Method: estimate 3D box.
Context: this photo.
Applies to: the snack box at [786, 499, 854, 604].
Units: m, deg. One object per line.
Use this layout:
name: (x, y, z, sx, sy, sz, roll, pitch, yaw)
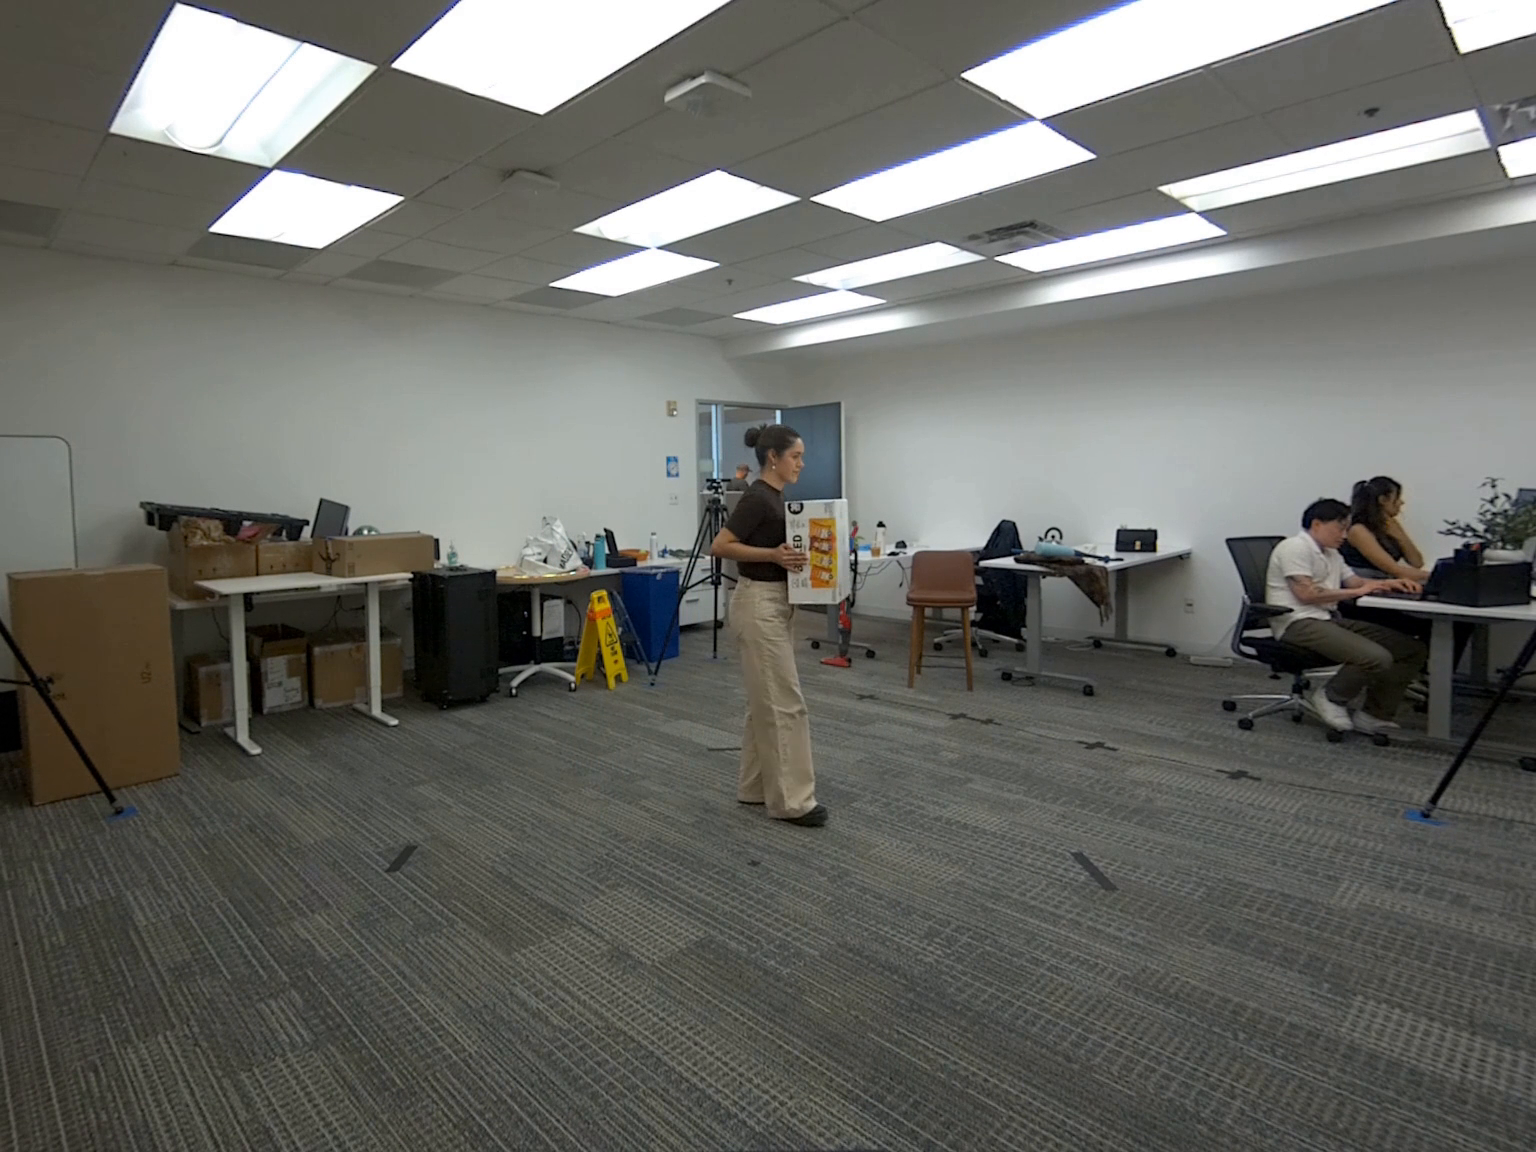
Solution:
snack box: (0.212, -0.110, 3.526, 0.209, 0.404, 0.336, -2, 3, 15)
